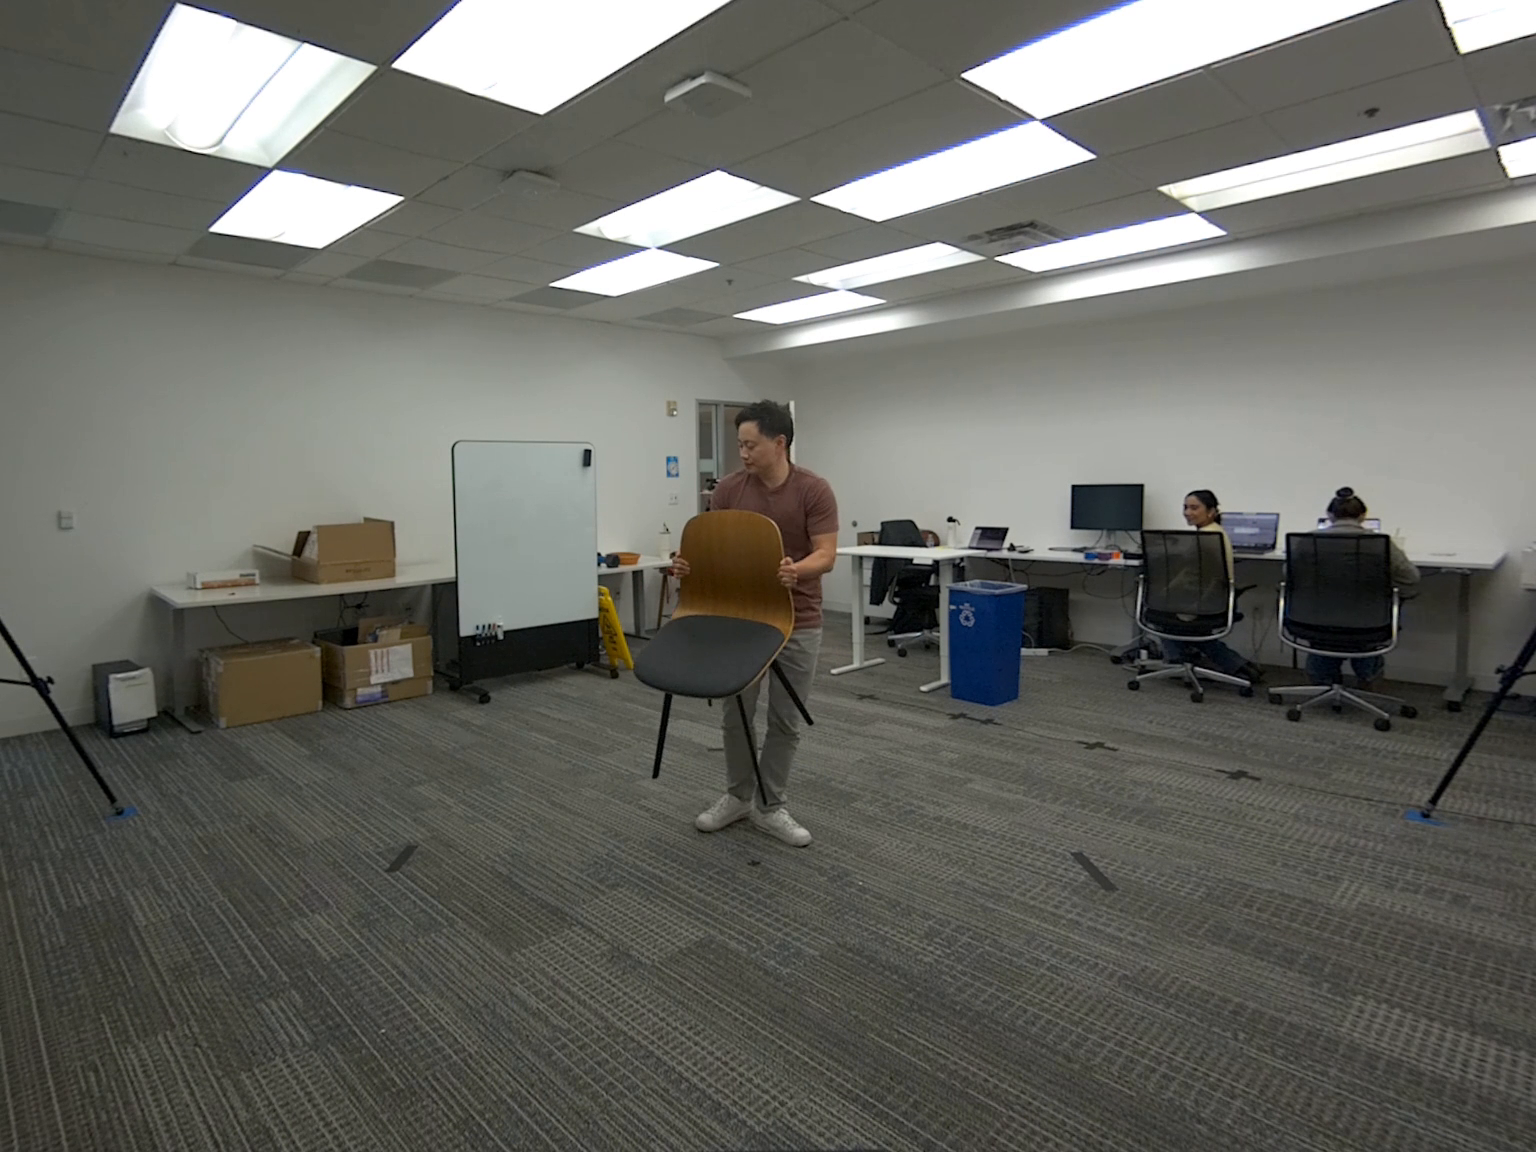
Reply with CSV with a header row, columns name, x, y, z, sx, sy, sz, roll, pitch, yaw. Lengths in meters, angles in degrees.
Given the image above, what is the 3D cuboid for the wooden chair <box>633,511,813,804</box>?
name,x,y,z,sx,sy,sz,roll,pitch,yaw
wooden chair,-0.181,0.274,2.956,0.490,0.860,0.520,6,24,26
